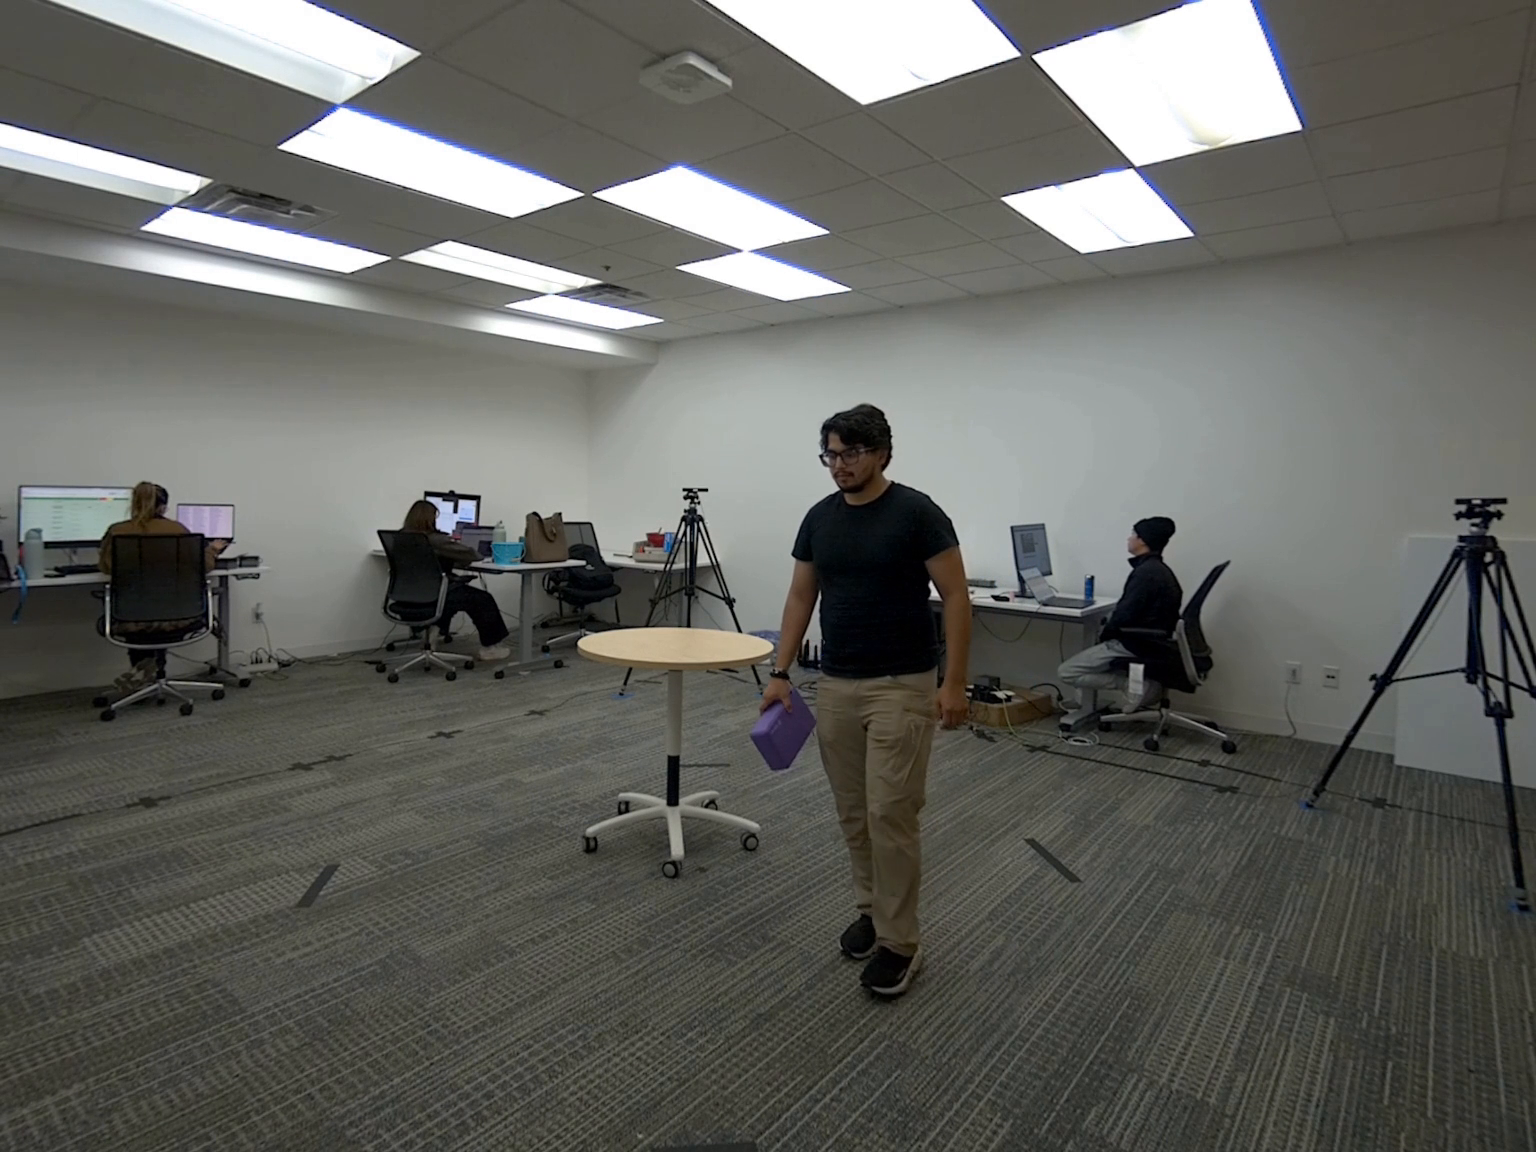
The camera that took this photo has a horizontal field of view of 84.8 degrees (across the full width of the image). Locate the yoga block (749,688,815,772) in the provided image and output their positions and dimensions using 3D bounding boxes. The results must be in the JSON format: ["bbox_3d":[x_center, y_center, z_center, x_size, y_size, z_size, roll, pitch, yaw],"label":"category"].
[{"bbox_3d":[0.050,0.478,2.667,0.078,0.146,0.229,-20,17,38],"label":"yoga block"}]
